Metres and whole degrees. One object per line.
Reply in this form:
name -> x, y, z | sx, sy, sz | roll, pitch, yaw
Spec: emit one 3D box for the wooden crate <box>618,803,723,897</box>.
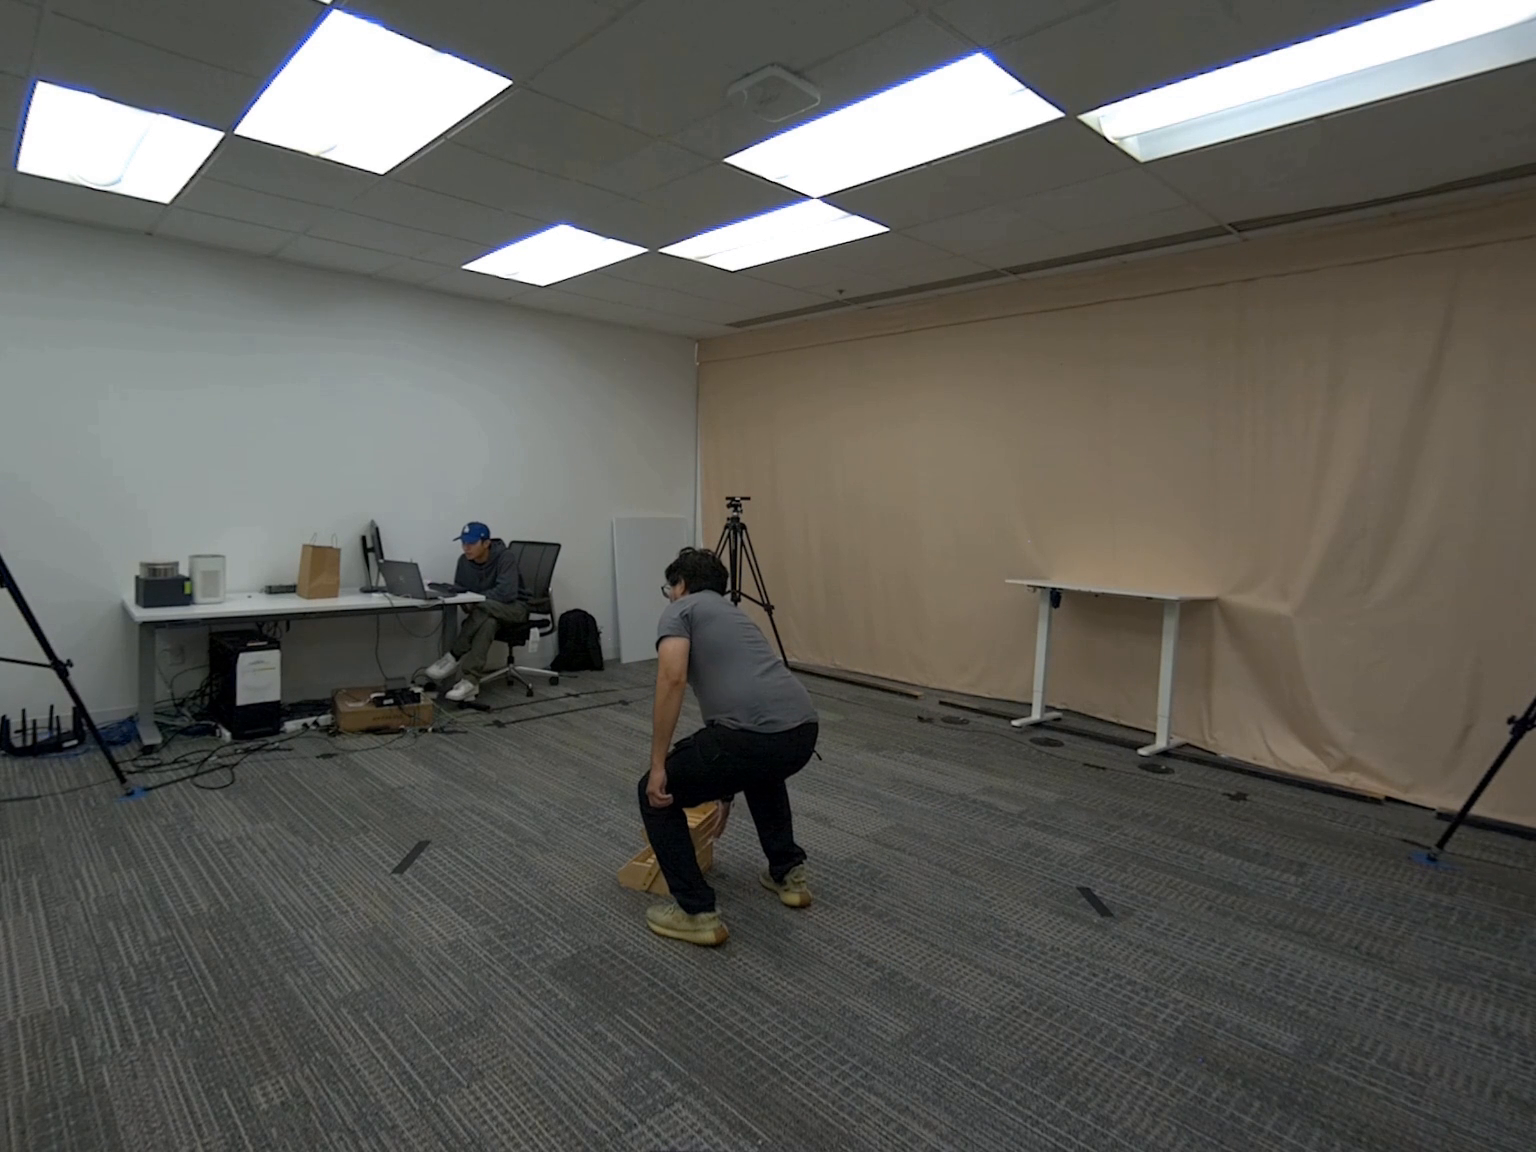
wooden crate -> -0.356, 0.969, 3.087 | 0.307, 0.272, 0.320 | 4, 5, 20
